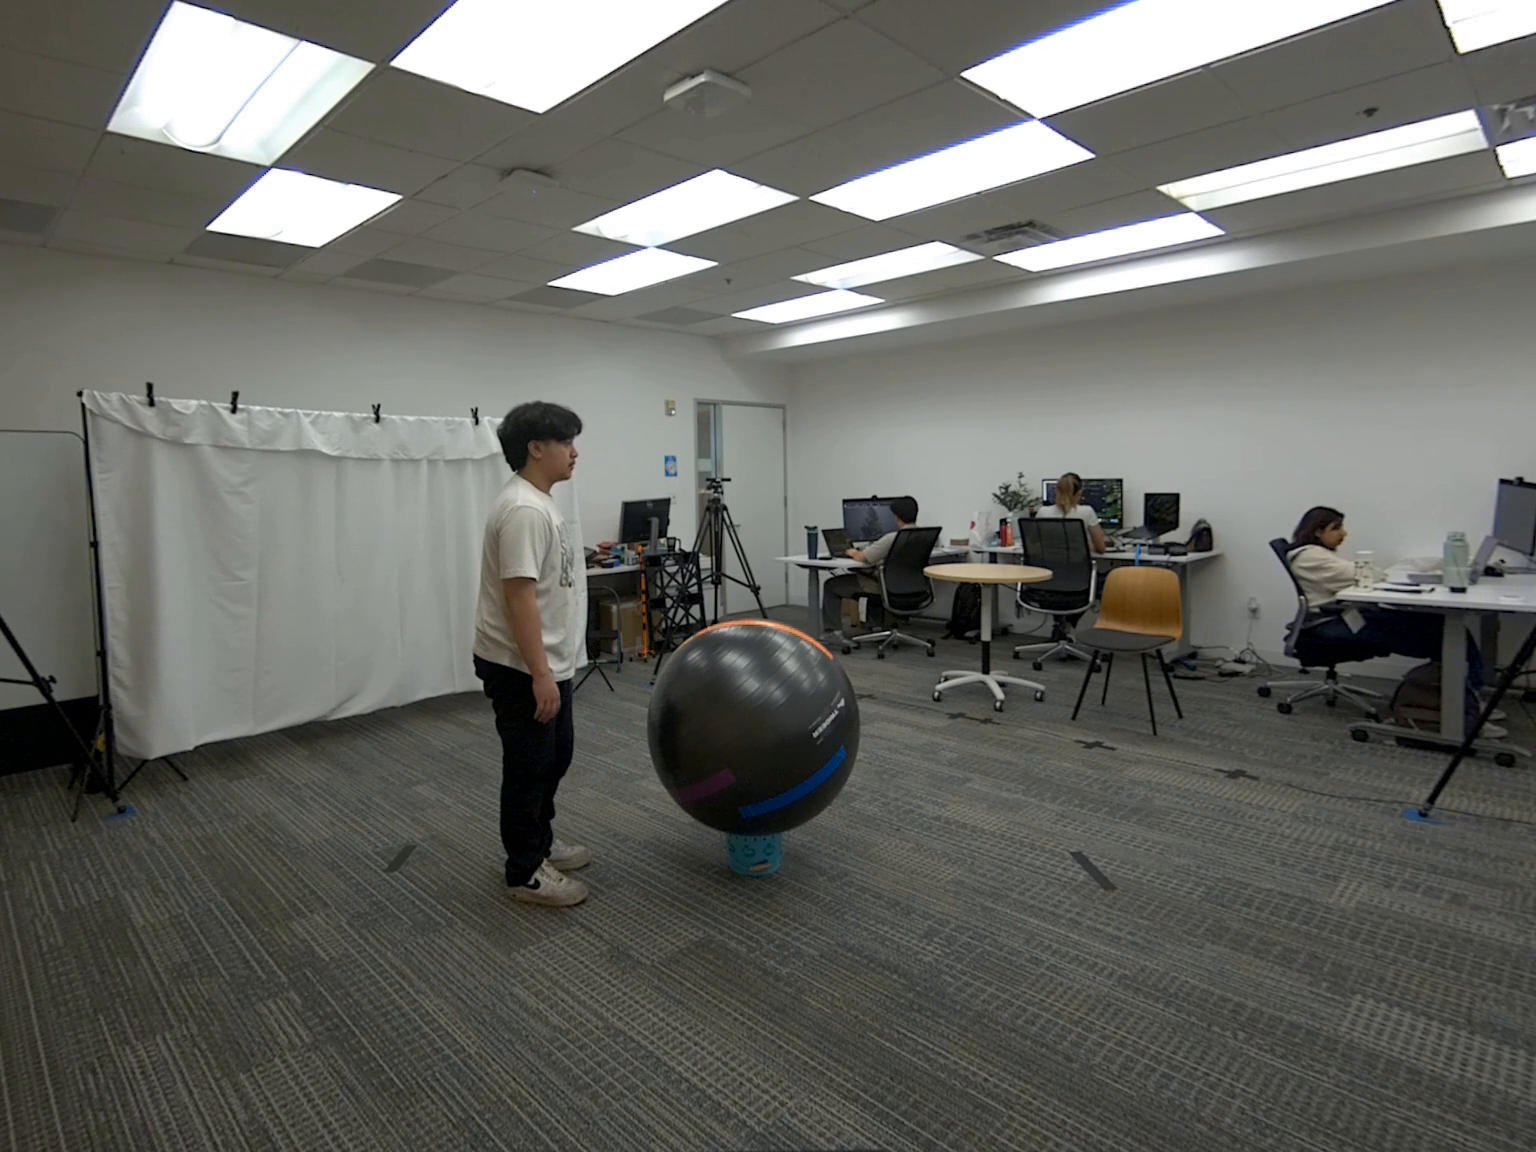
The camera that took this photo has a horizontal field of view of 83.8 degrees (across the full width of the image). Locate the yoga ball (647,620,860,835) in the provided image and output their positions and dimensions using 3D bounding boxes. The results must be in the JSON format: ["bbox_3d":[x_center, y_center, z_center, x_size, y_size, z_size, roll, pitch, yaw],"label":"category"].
[{"bbox_3d":[-0.052,0.535,3.056,0.757,0.755,0.762,-1,5,-2],"label":"yoga ball"}]
